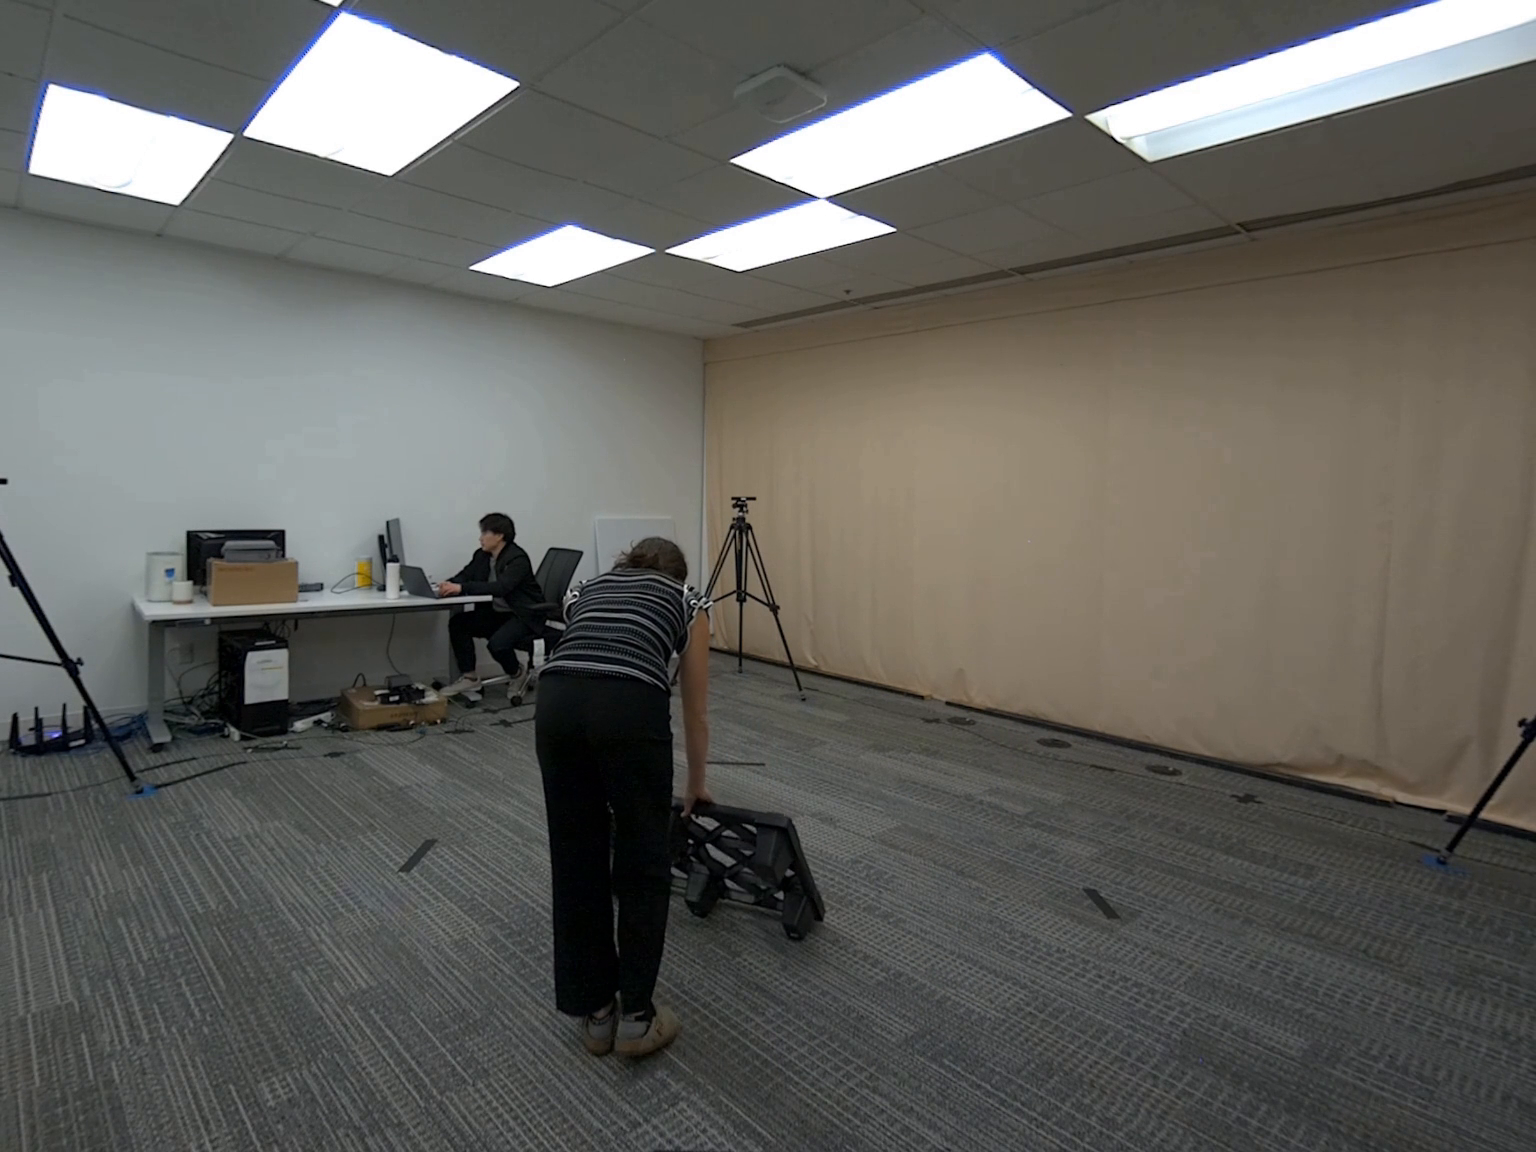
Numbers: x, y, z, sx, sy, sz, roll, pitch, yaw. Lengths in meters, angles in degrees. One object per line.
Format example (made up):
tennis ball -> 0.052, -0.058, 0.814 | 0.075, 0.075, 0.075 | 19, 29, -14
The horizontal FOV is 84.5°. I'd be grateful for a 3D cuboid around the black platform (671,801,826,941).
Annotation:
black platform -> -0.270, 0.916, 2.697 | 0.820, 0.589, 0.144 | 4, 43, 23
